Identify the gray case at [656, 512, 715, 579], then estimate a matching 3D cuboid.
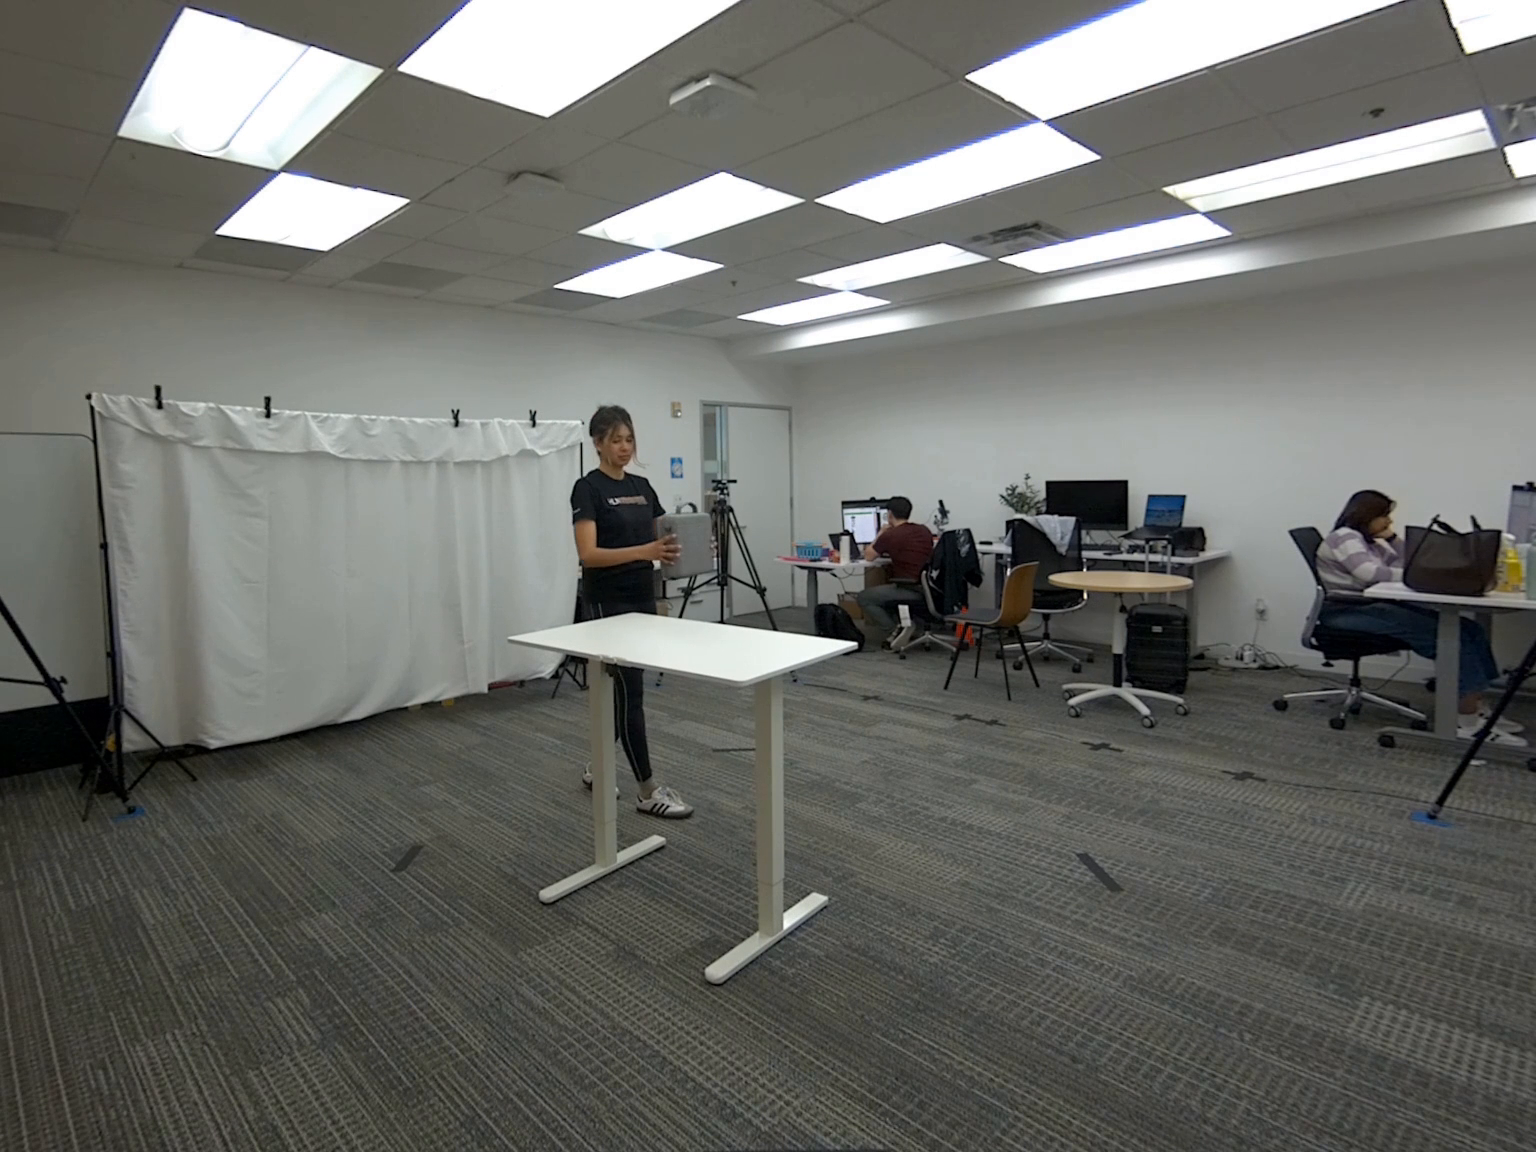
[{"bbox_3d":[-0.323,-0.129,3.430,0.107,0.260,0.251,-3,5,33],"label":"gray case"}]
